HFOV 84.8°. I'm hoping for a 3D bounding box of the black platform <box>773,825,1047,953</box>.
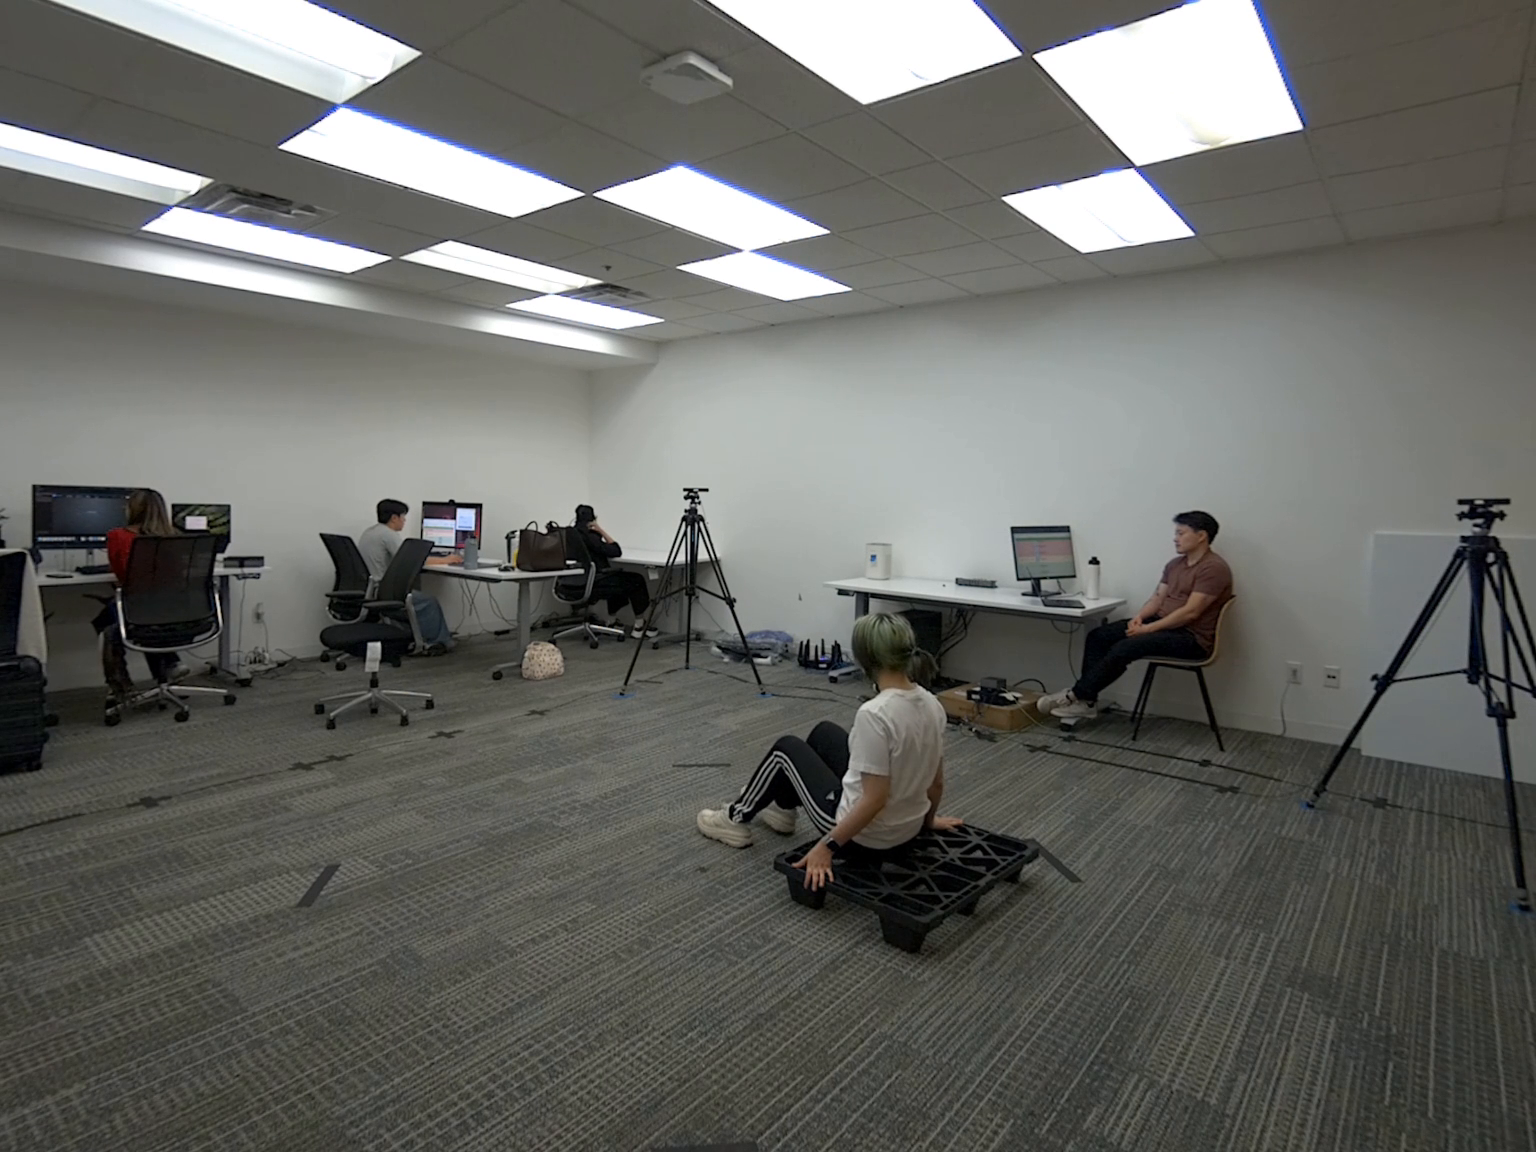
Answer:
[{"bbox_3d":[0.486,1.031,2.983,0.626,0.143,0.781,5,6,43],"label":"black platform"}]
